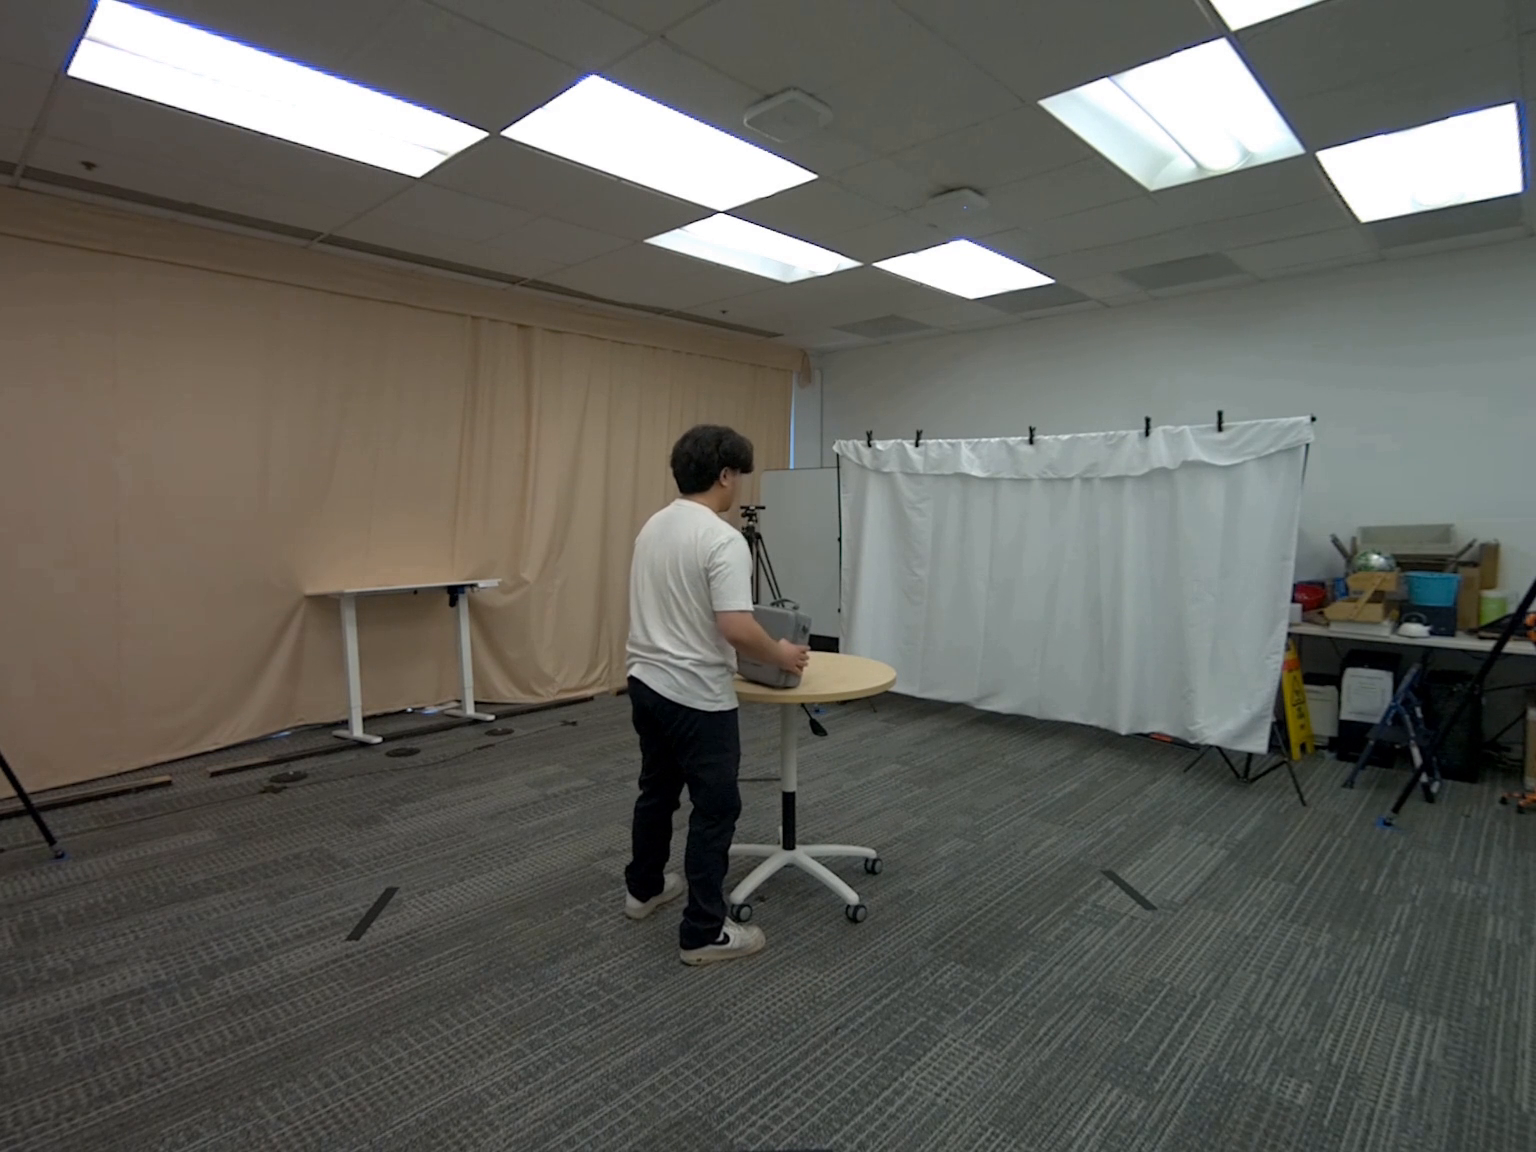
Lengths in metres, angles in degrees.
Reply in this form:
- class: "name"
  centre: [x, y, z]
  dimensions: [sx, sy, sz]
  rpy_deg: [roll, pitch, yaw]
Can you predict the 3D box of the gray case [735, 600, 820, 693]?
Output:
- class: "gray case"
  centre: [0.022, 0.228, 2.830]
  dimensions: [0.101, 0.261, 0.265]
  rpy_deg: [13, -4, -38]
